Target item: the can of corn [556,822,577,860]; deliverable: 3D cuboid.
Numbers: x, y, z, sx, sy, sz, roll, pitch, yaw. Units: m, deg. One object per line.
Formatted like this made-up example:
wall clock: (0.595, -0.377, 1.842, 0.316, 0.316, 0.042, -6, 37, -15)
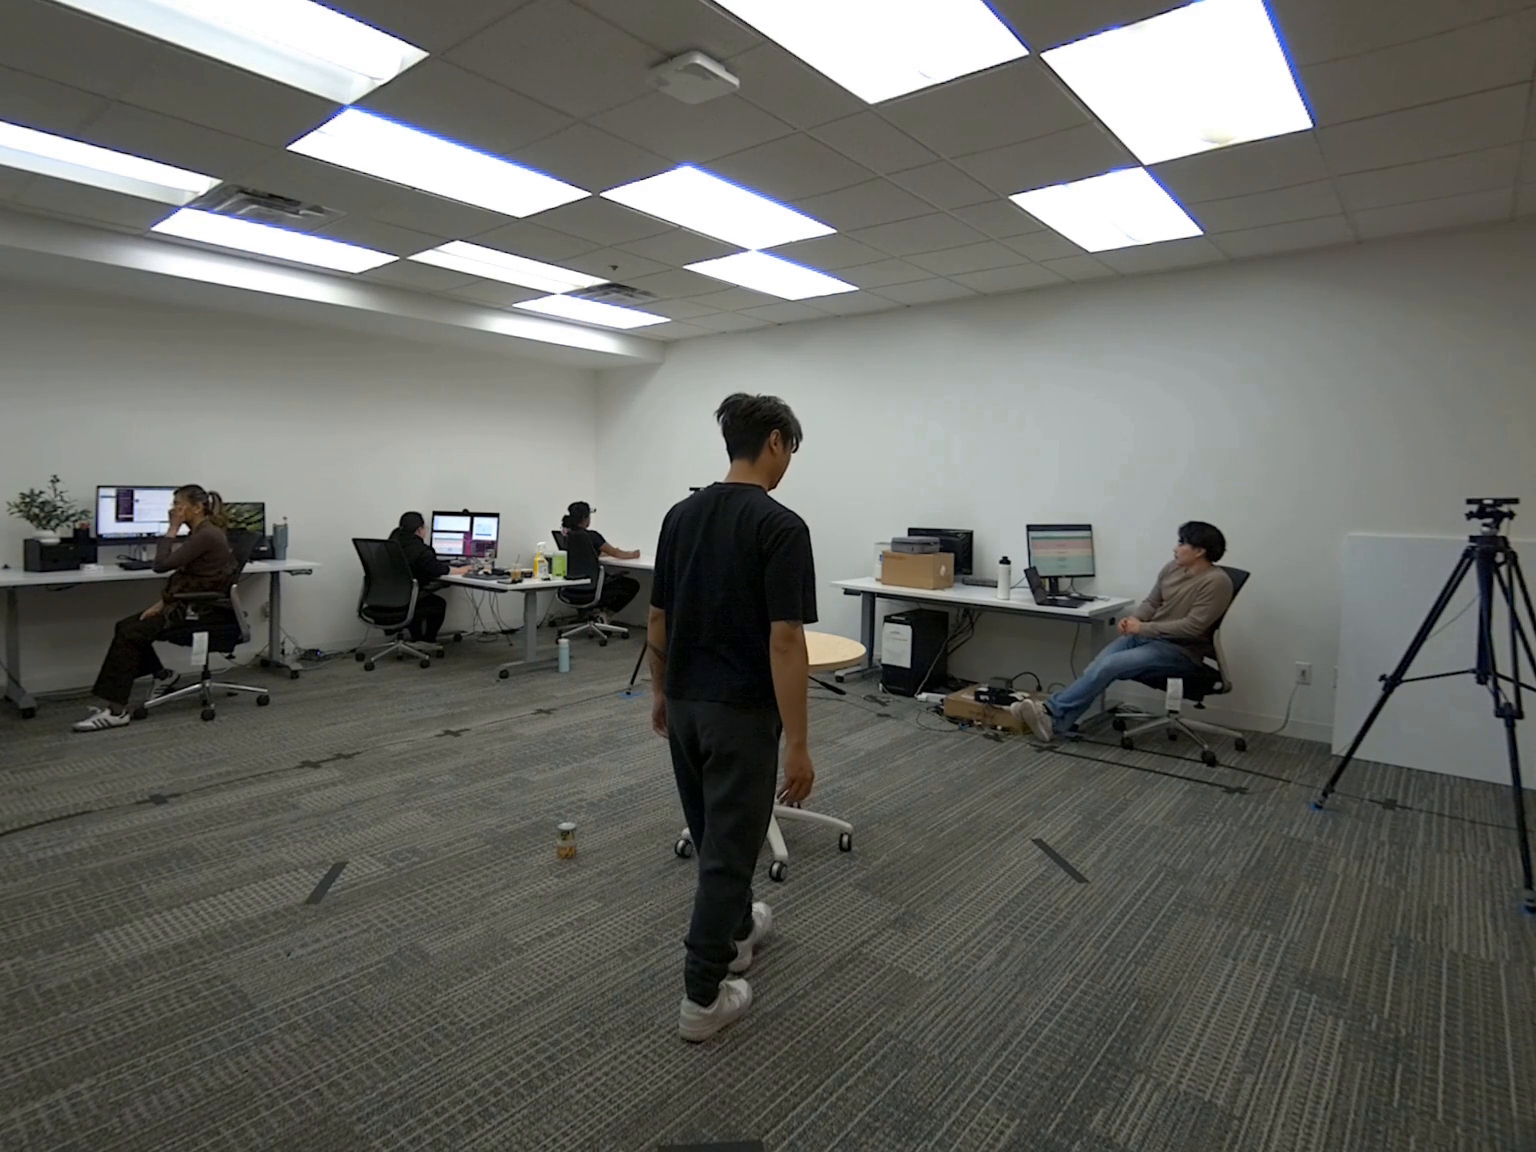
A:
can of corn: (-0.770, 0.997, 3.198, 0.074, 0.110, 0.075, 0, 5, -2)
